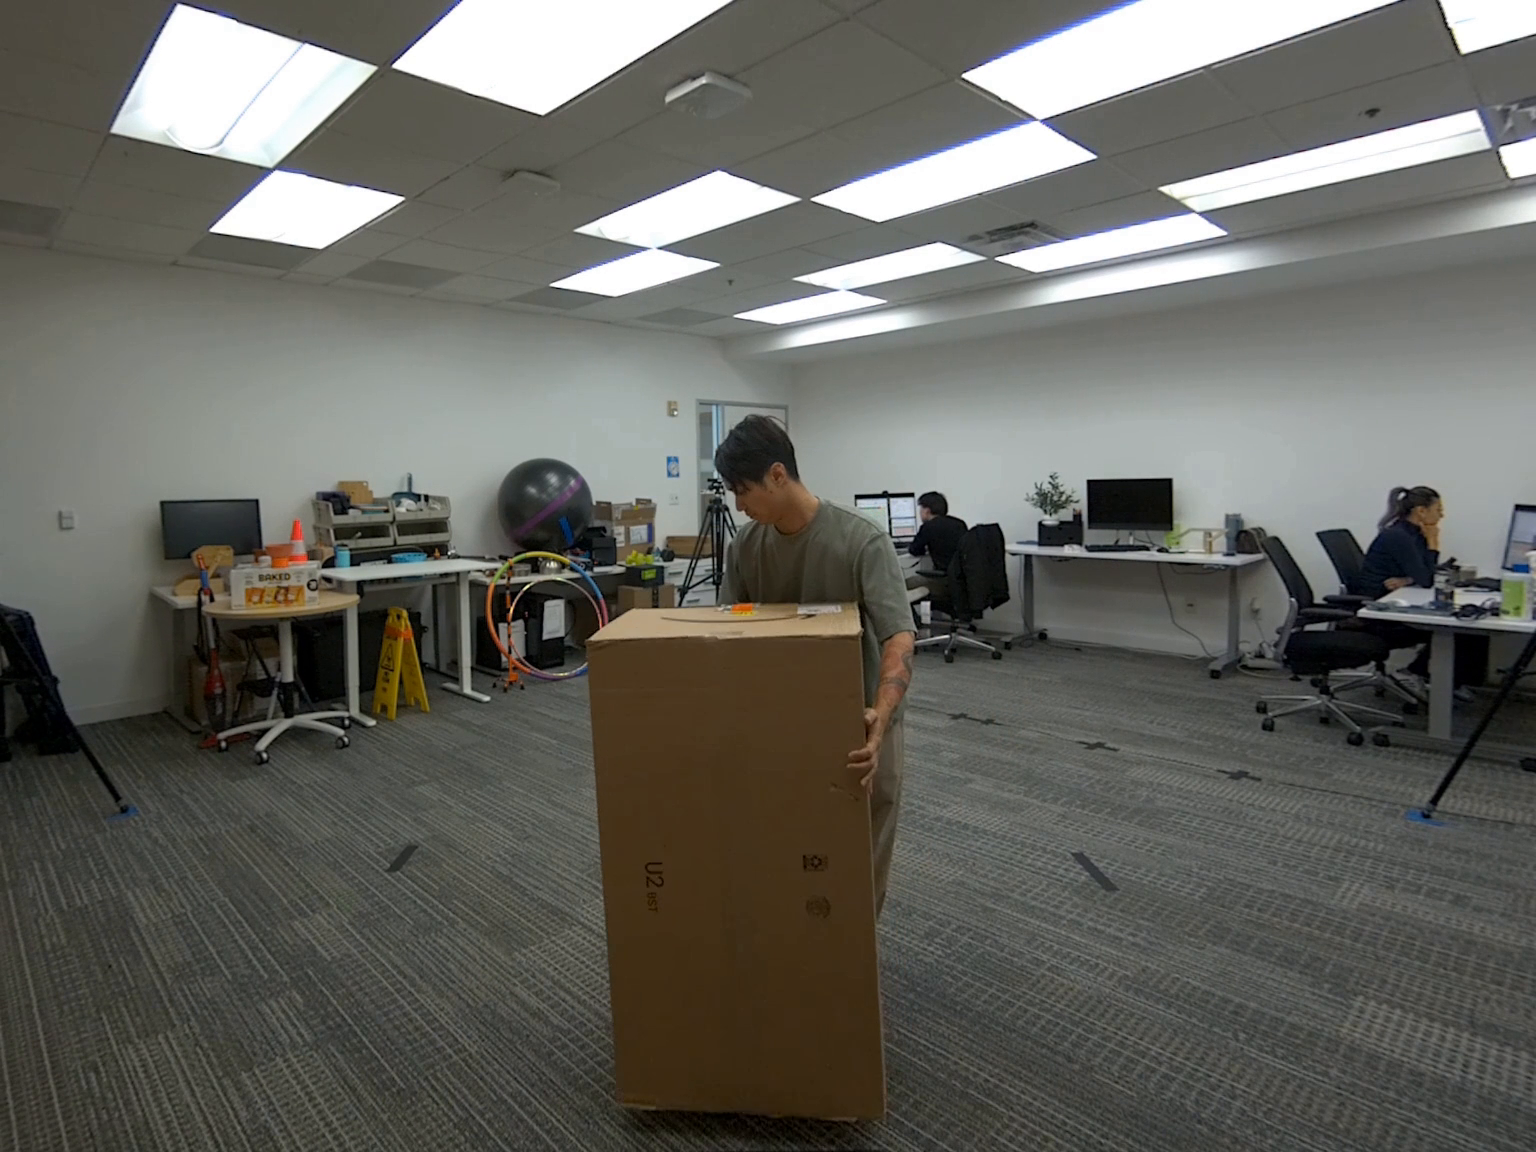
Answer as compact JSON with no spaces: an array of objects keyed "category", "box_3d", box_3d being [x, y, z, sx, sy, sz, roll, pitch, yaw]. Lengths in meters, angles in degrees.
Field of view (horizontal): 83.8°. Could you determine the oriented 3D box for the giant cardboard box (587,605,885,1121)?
[{"category":"giant cardboard box","box_3d":[-0.038,0.614,1.968,0.581,1.021,0.426,-3,5,6]}]
